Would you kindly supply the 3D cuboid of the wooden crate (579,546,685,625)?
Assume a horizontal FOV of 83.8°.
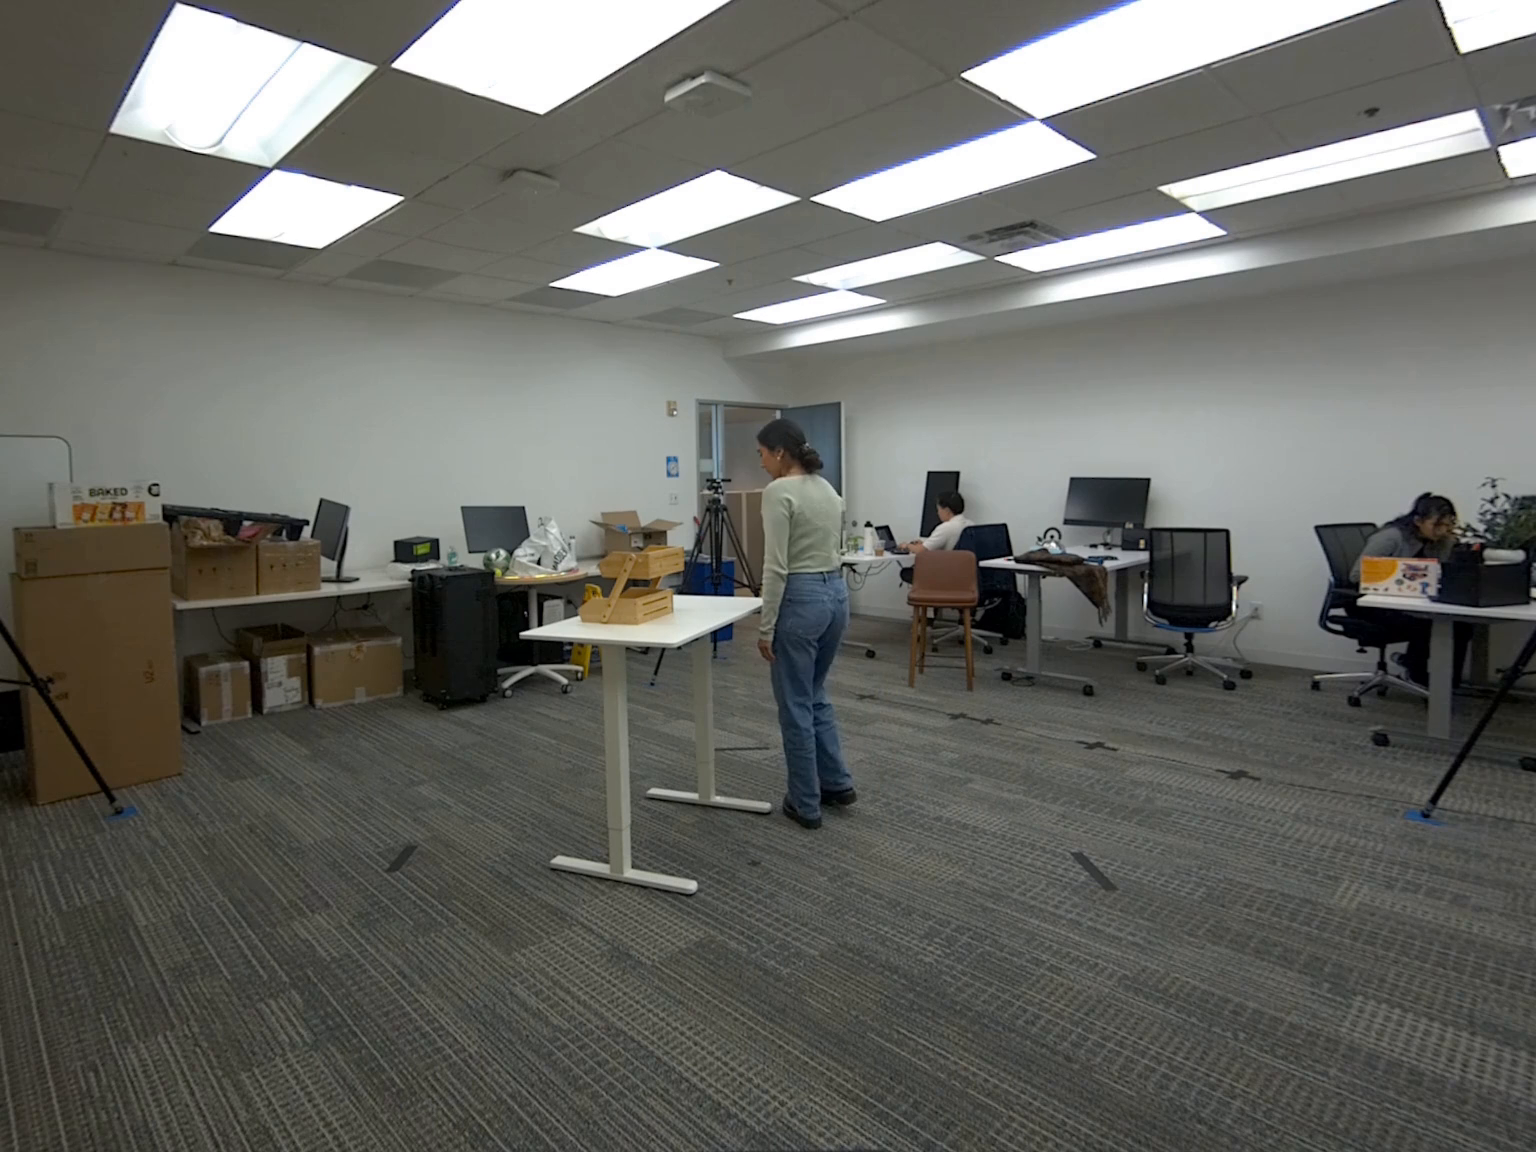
[{"bbox_3d":[-0.512,0.025,3.227,0.308,0.272,0.319,1,6,21],"label":"wooden crate"}]
